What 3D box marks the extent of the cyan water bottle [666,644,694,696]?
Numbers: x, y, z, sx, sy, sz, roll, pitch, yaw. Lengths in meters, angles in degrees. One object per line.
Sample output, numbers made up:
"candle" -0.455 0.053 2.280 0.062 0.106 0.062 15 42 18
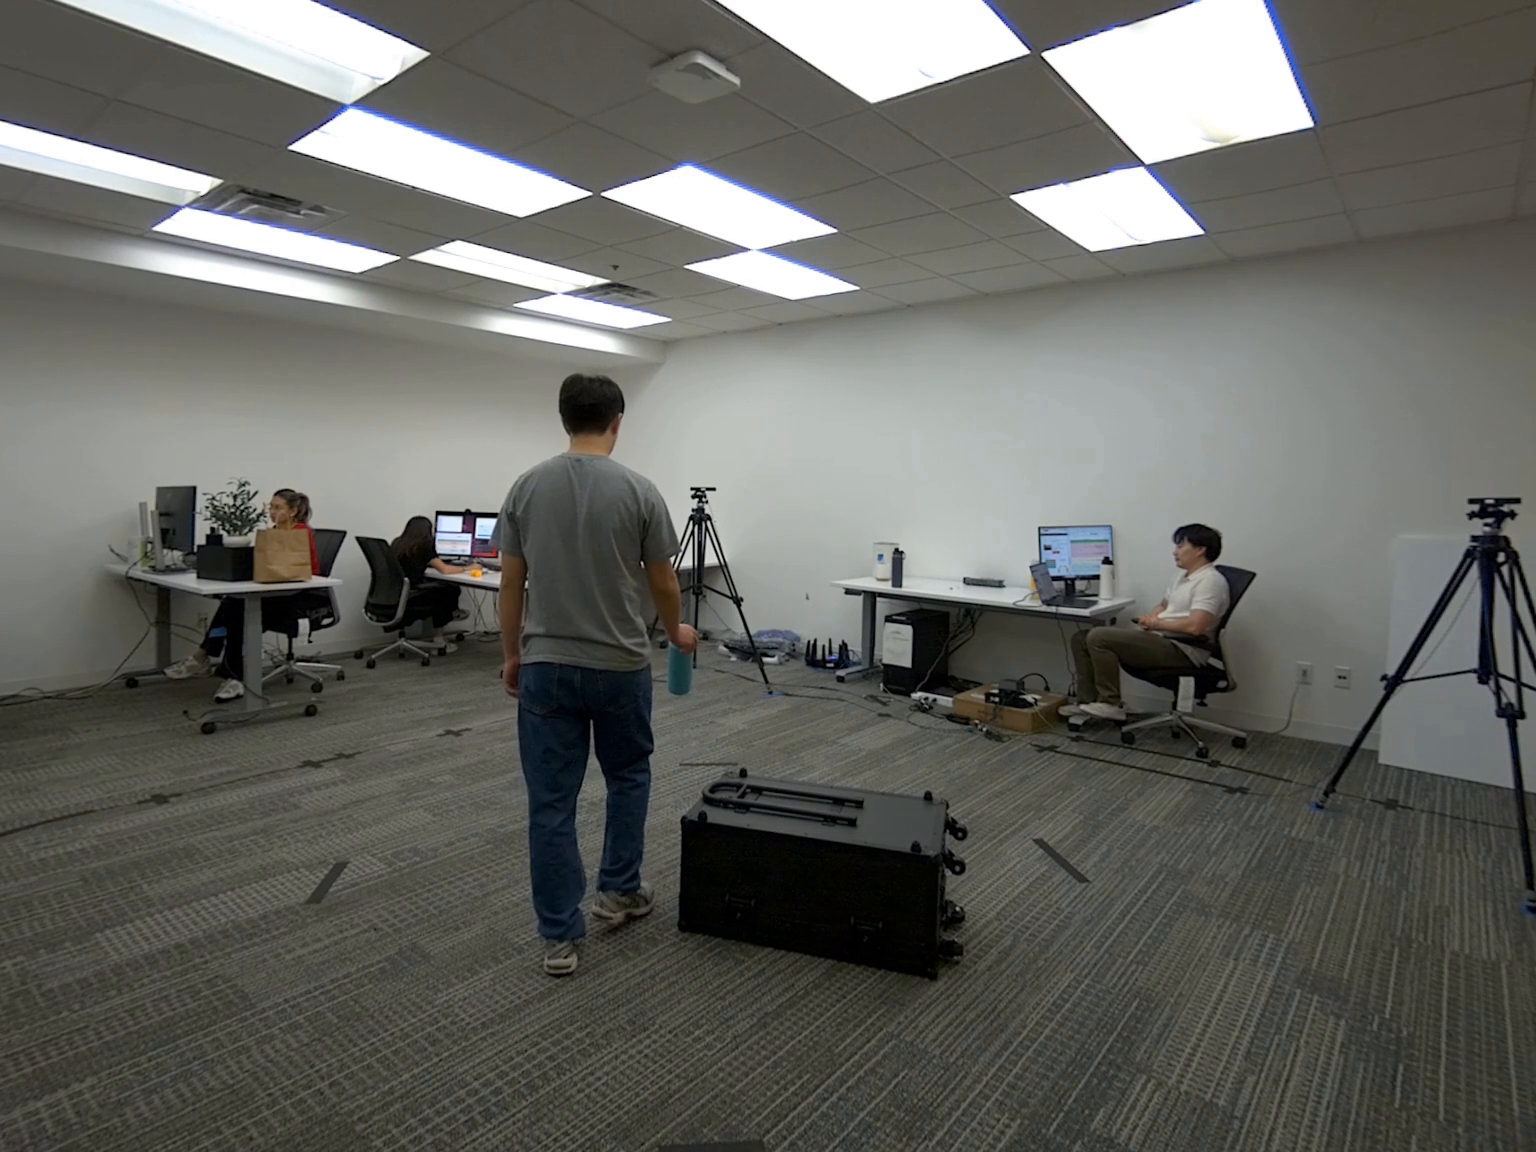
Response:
"cyan water bottle" -0.312 0.293 2.976 0.092 0.277 0.095 2 31 -3
